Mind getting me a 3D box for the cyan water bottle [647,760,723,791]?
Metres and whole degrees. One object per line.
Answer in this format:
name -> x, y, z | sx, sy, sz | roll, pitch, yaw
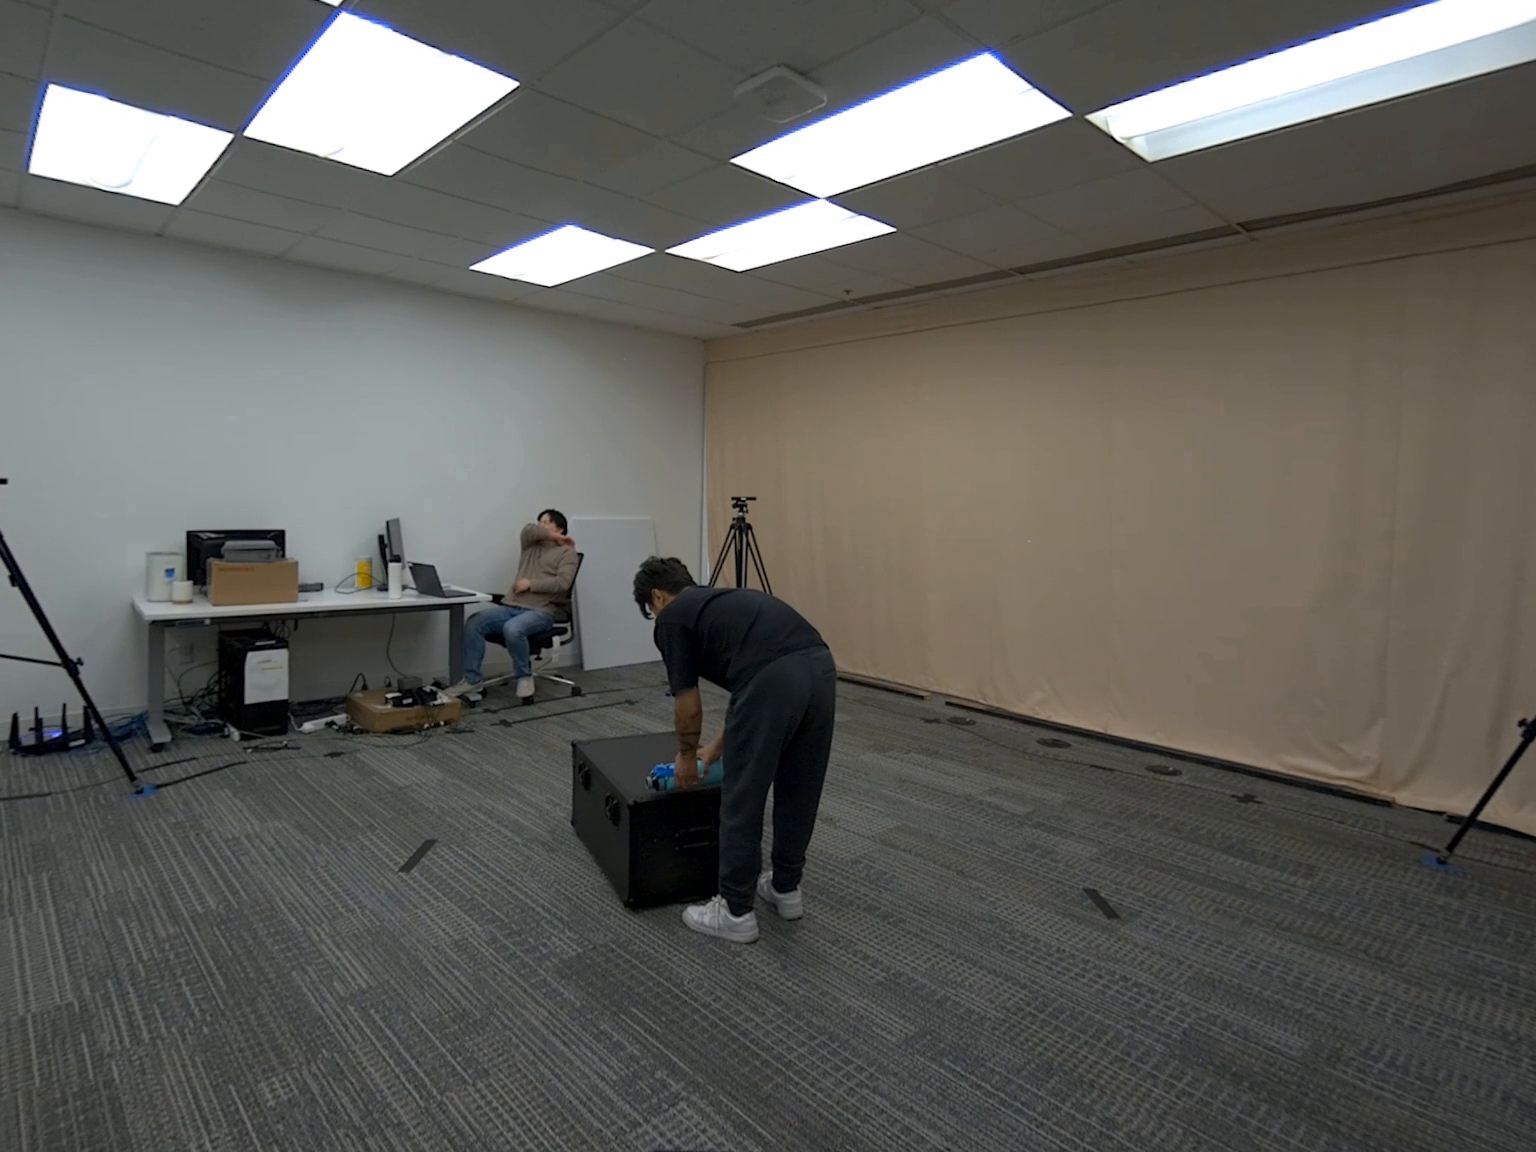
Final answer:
cyan water bottle -> -0.294, 0.690, 2.921 | 0.278, 0.092, 0.094 | 2, 4, -23
